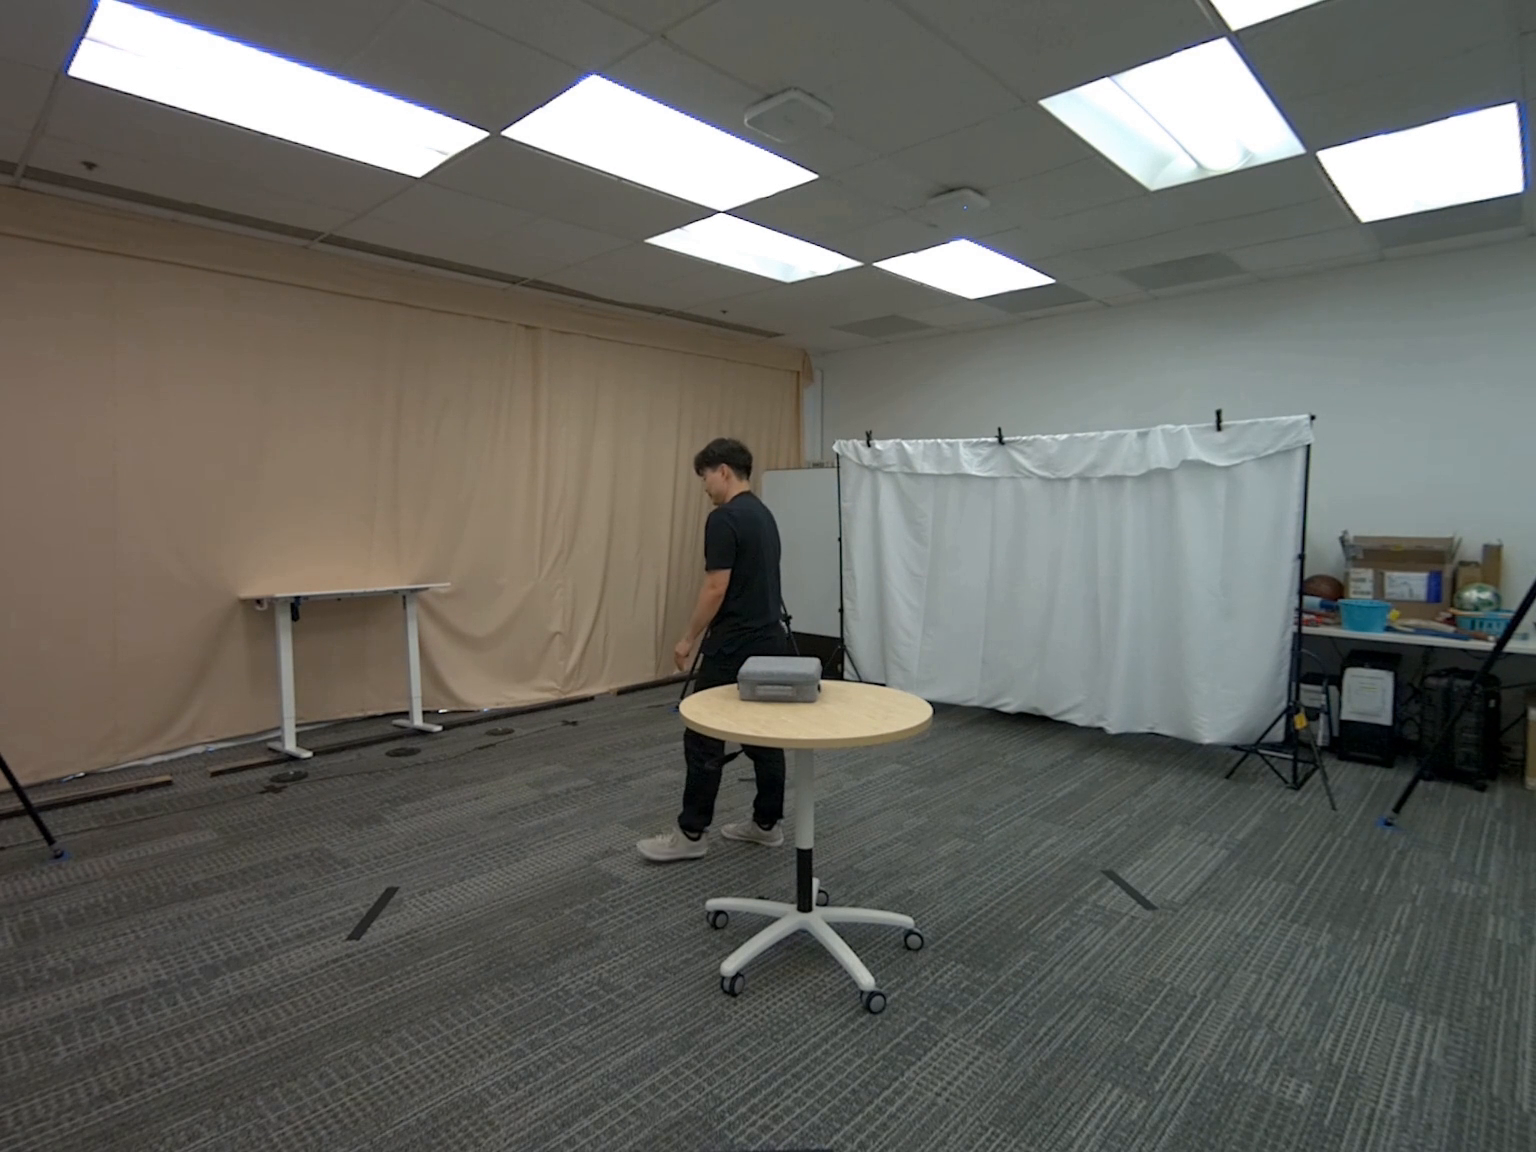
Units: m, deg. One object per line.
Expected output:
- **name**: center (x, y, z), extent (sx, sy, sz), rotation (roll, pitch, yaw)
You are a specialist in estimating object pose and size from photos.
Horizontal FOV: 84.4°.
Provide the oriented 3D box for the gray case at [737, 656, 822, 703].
- **gray case**: center (0.043, 0.332, 2.731), extent (0.260, 0.104, 0.258), rotation (1, 6, 9)
